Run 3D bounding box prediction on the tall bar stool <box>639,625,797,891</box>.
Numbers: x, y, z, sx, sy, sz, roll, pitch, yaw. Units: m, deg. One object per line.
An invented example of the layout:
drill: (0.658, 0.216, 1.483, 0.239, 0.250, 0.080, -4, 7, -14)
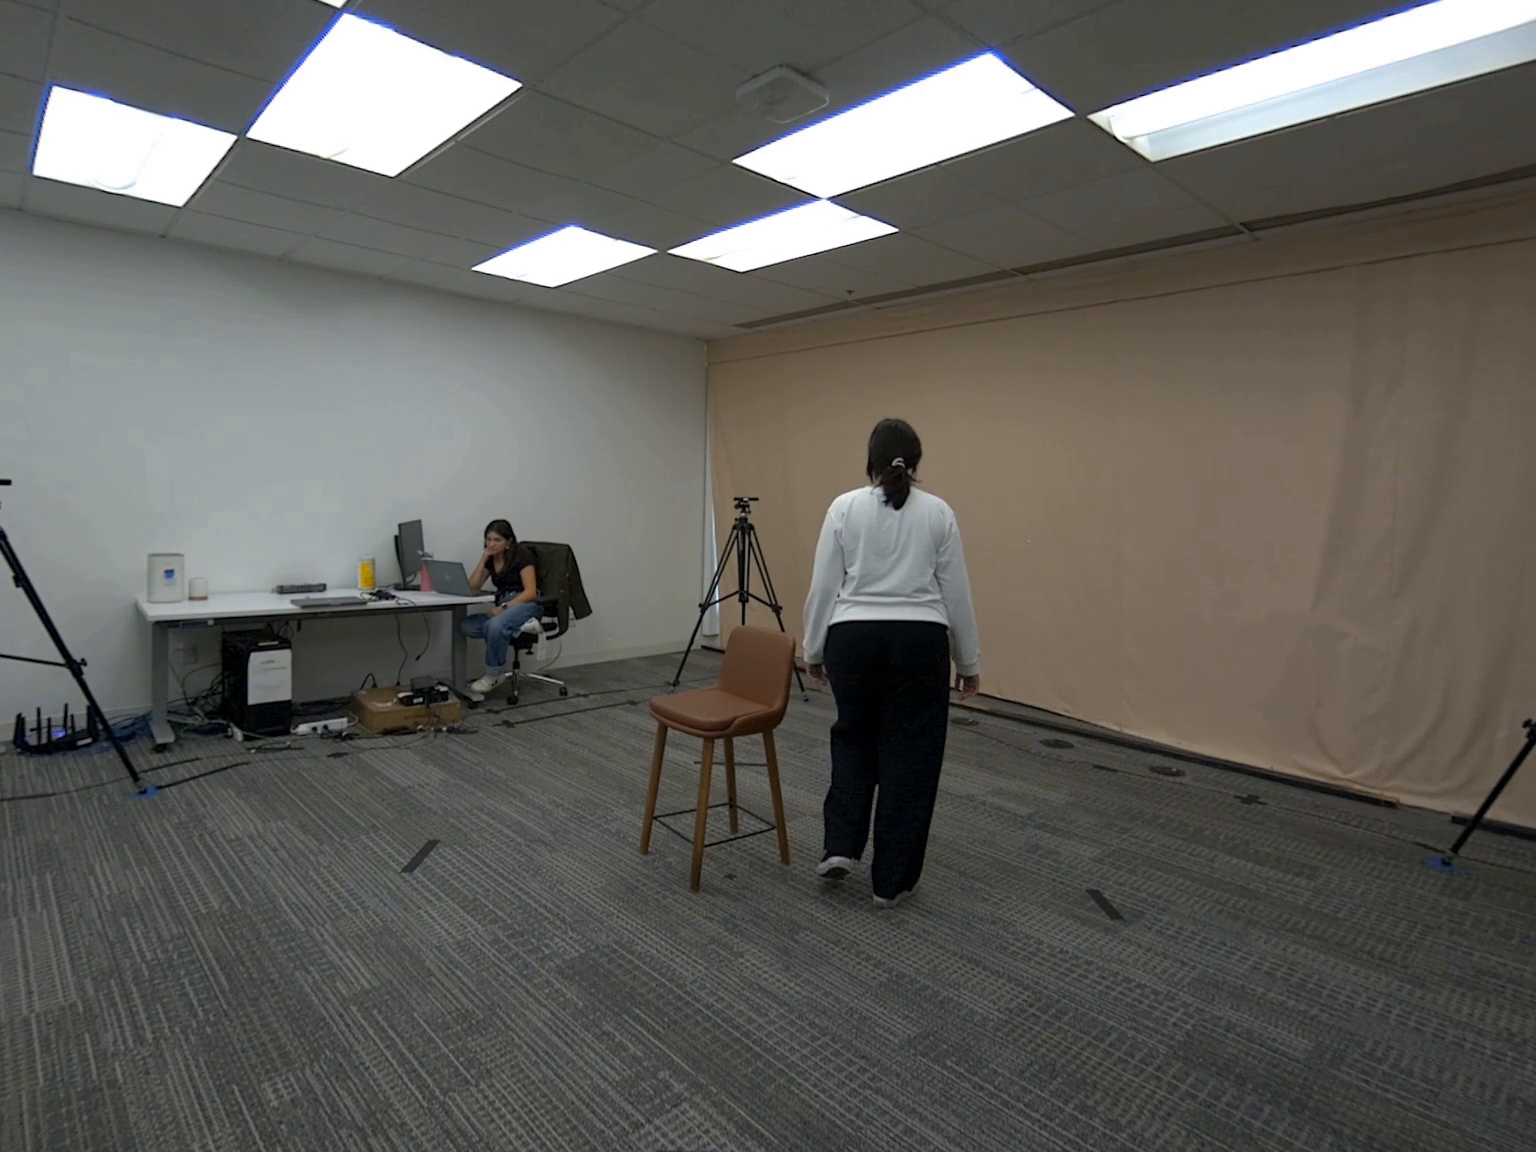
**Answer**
tall bar stool: (-0.196, 0.660, 3.243, 0.457, 0.888, 0.467, 2, 2, -36)
